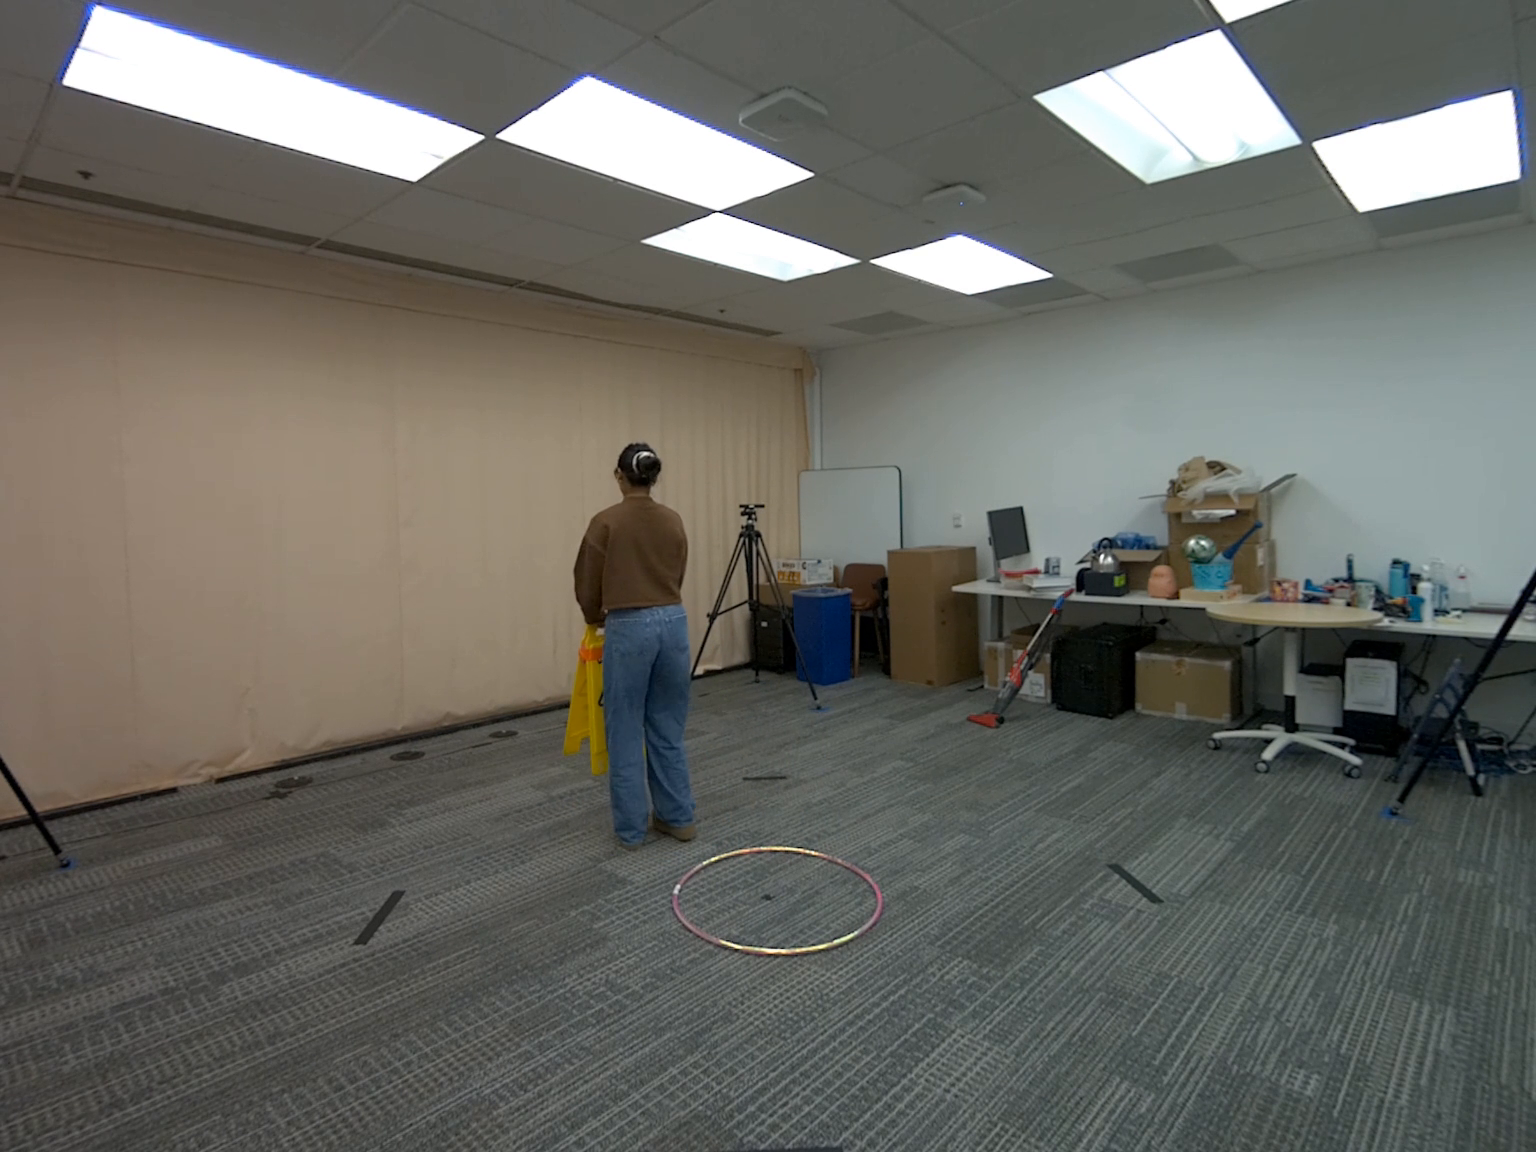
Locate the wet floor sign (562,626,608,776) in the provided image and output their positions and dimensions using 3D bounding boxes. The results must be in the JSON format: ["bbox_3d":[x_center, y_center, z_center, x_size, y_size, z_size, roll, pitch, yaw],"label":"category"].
[{"bbox_3d":[-0.717,0.498,3.720,0.274,0.643,0.300,-4,9,-40],"label":"wet floor sign"}]
